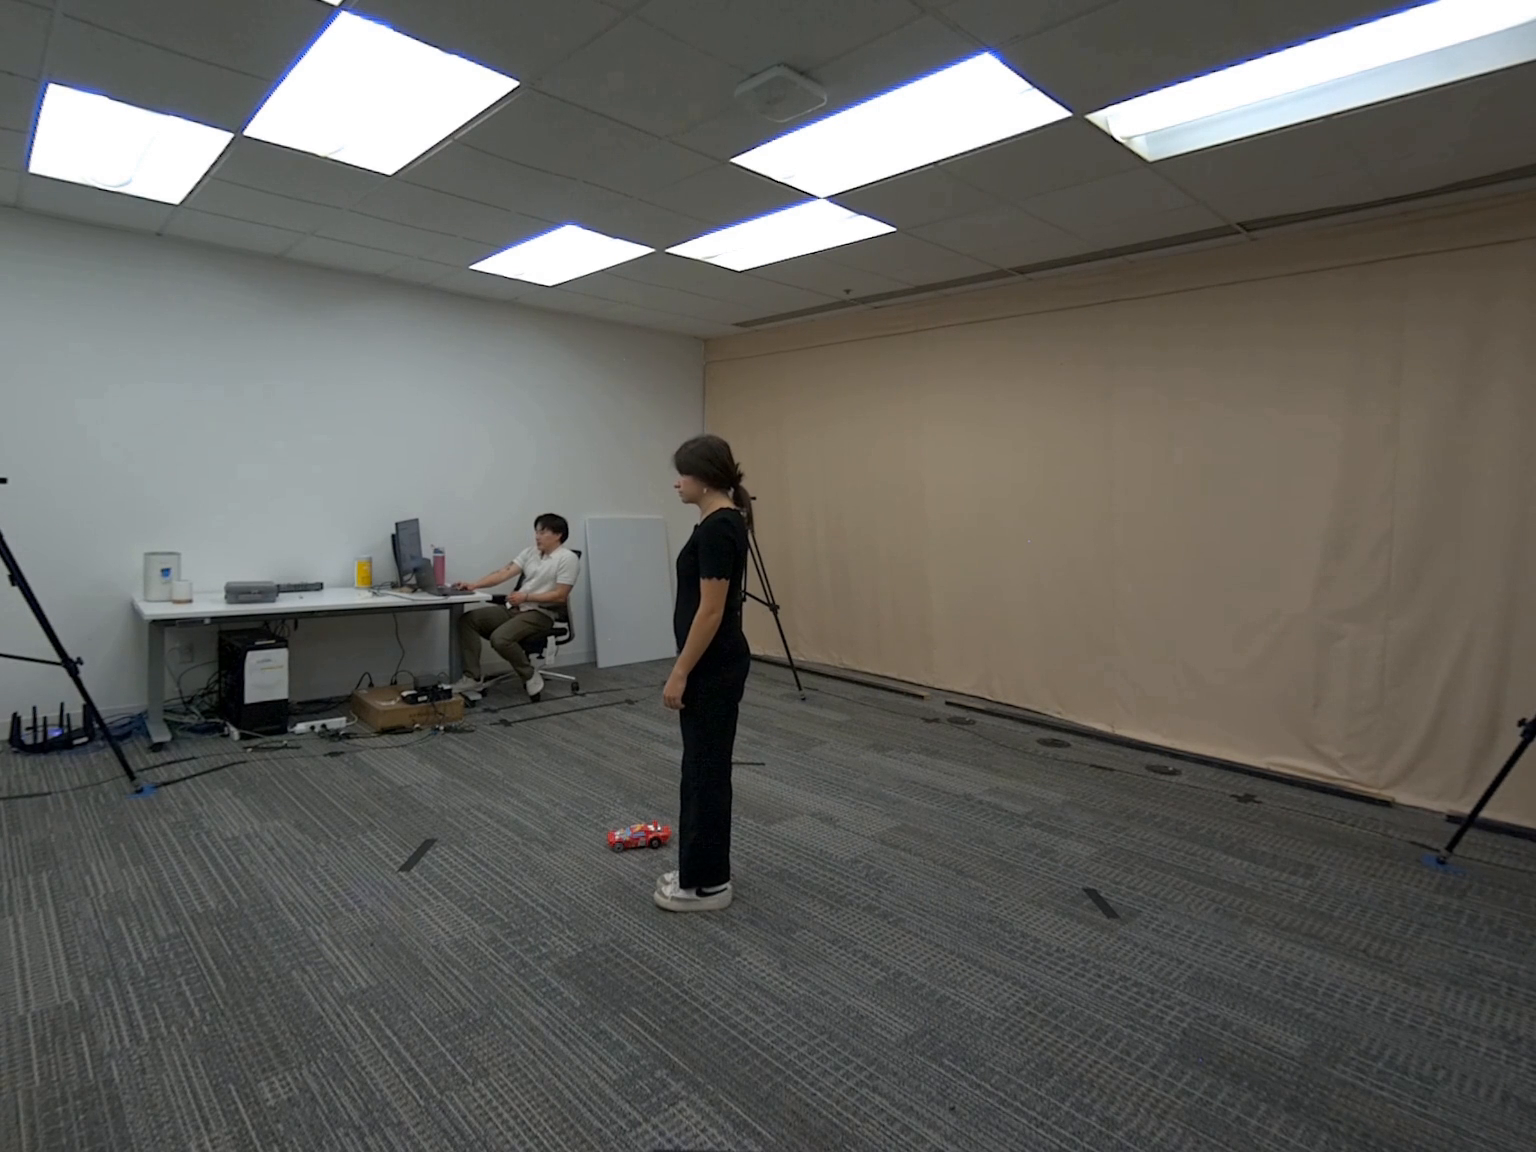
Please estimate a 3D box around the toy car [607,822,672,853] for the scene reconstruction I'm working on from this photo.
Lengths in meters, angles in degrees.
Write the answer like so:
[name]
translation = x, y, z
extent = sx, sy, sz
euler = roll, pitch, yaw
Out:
[toy car]
translation = -0.521, 1.043, 3.361
extent = 0.252, 0.083, 0.132
euler = -11, 8, -15
